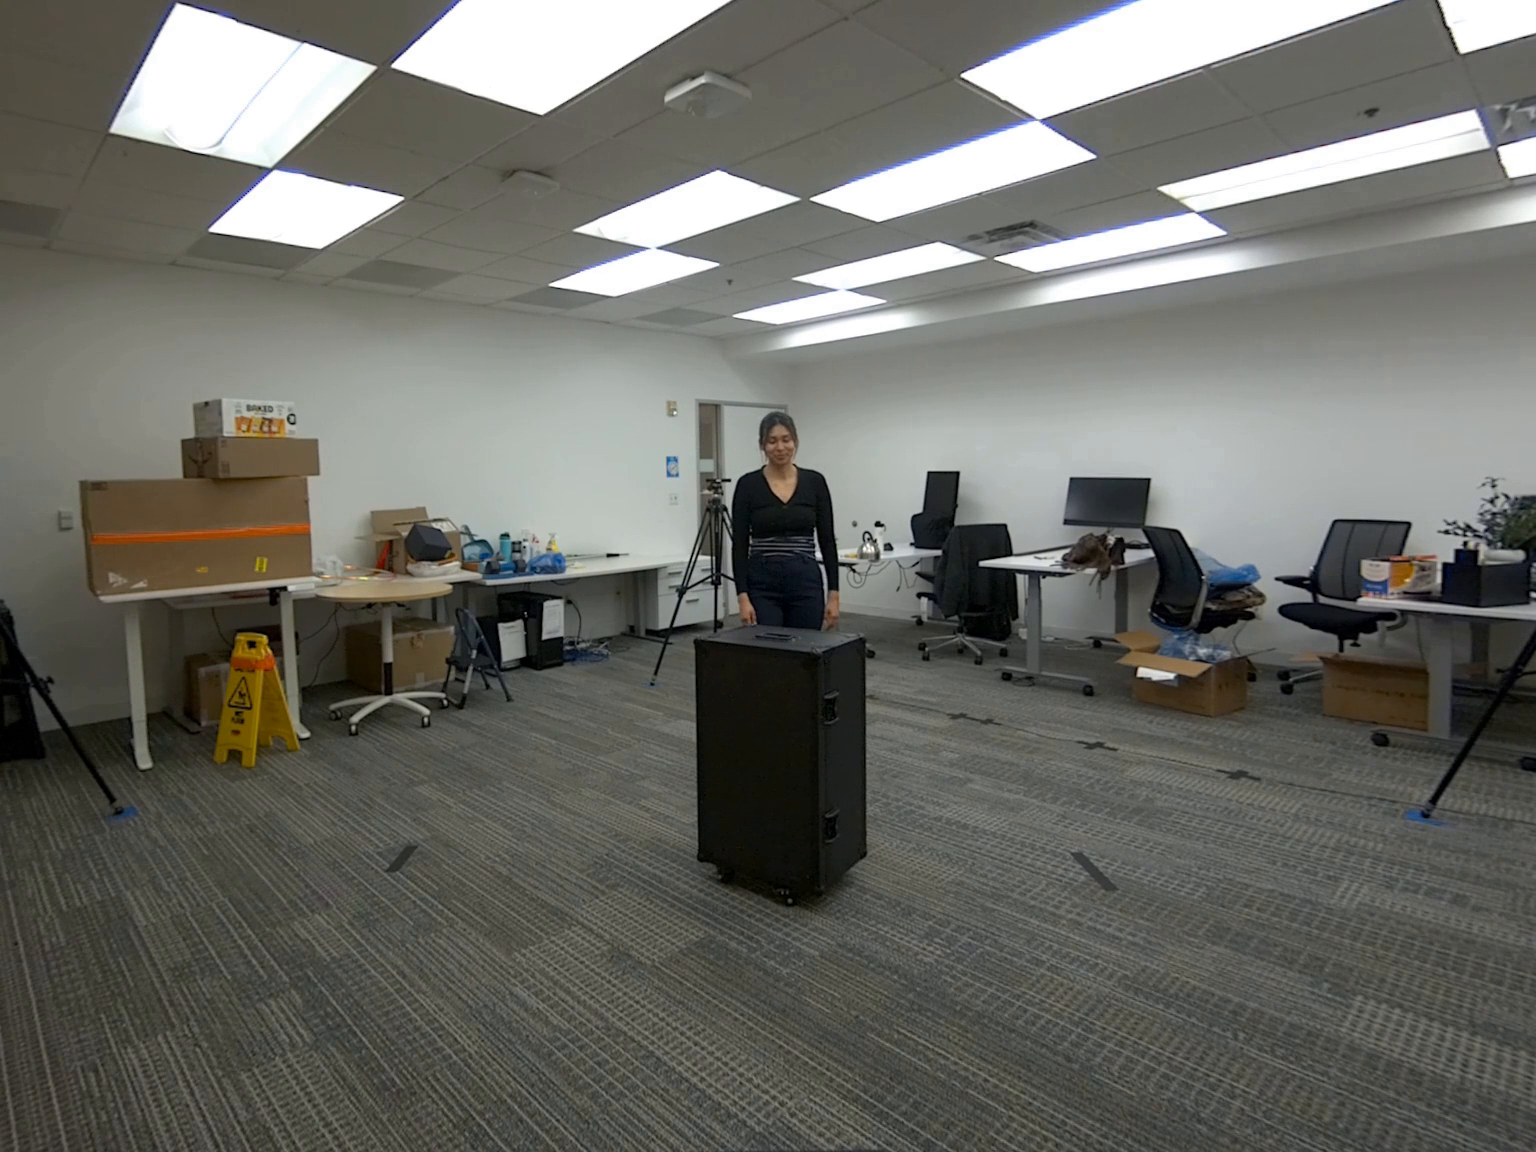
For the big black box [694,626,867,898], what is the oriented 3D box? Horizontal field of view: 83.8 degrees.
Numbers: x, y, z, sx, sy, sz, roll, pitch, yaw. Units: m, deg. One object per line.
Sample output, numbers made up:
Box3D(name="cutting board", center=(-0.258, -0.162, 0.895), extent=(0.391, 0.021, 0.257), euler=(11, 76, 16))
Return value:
Box3D(name="big black box", center=(0.047, 0.637, 2.974), extent=(0.536, 0.859, 0.386), euler=(2, 3, 34))
